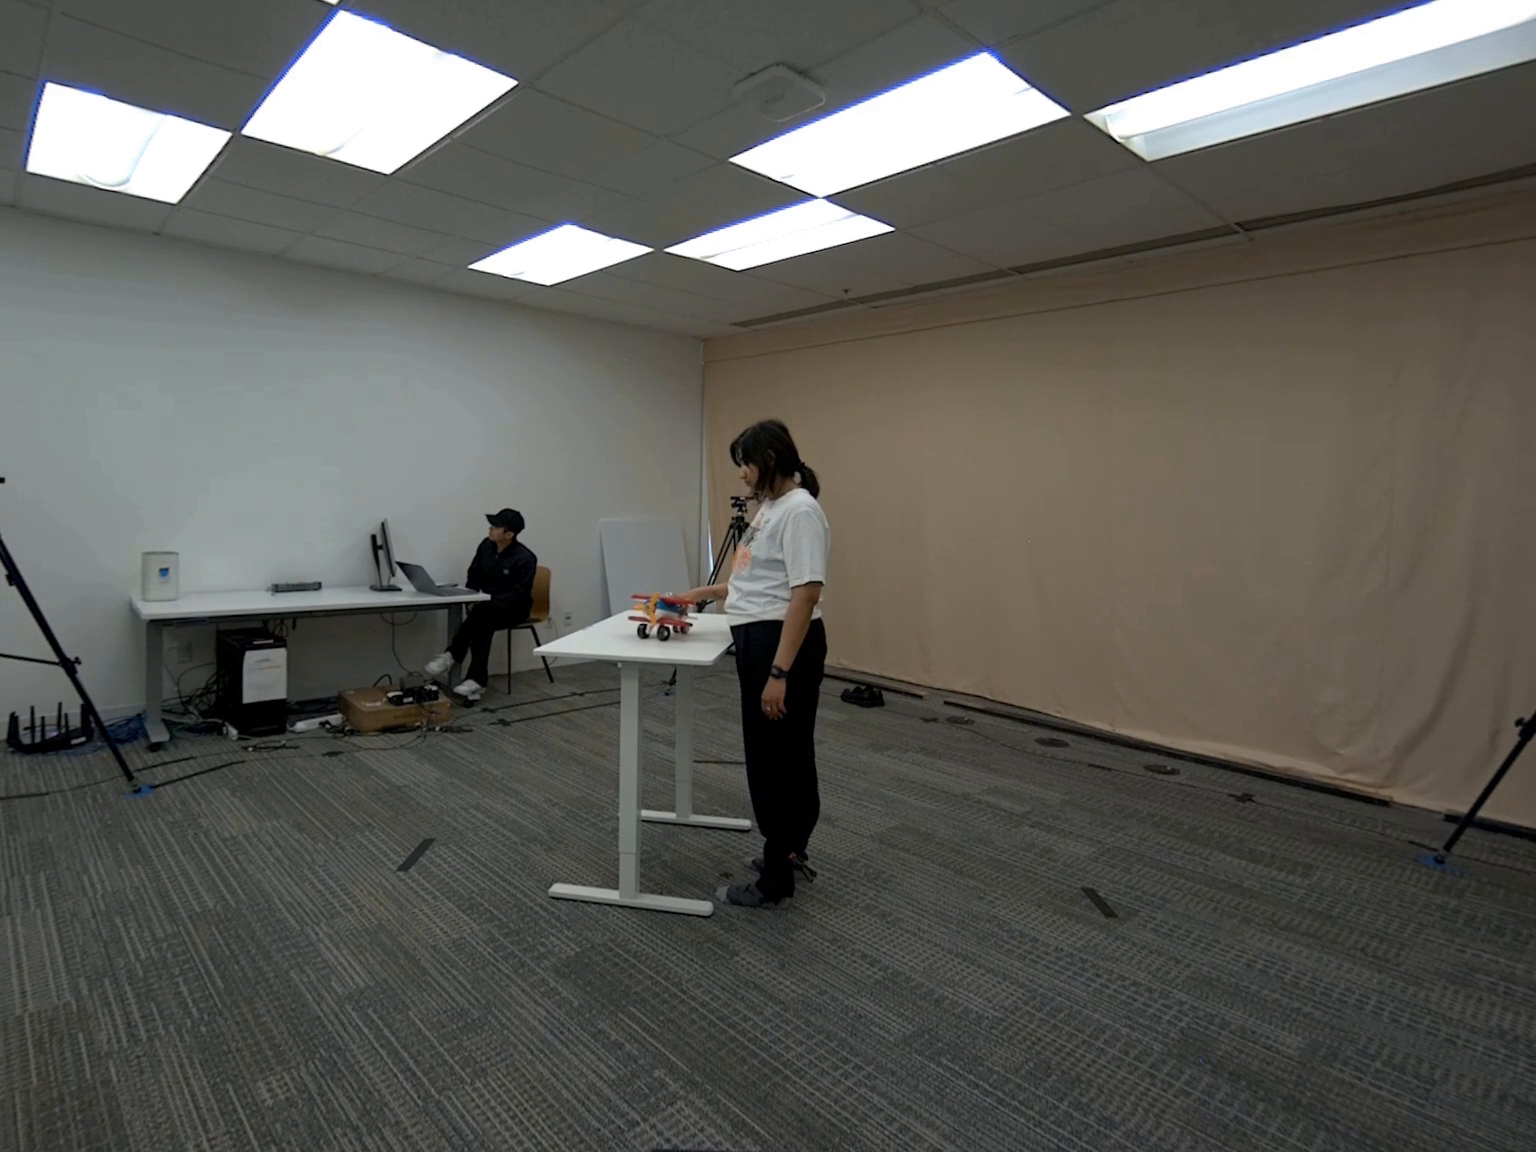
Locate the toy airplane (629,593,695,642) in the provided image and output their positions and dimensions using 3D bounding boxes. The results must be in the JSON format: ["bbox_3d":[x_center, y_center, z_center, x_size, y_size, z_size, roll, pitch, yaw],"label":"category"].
[{"bbox_3d":[-0.390,0.142,3.072,0.251,0.156,0.260,1,6,-1],"label":"toy airplane"}]
